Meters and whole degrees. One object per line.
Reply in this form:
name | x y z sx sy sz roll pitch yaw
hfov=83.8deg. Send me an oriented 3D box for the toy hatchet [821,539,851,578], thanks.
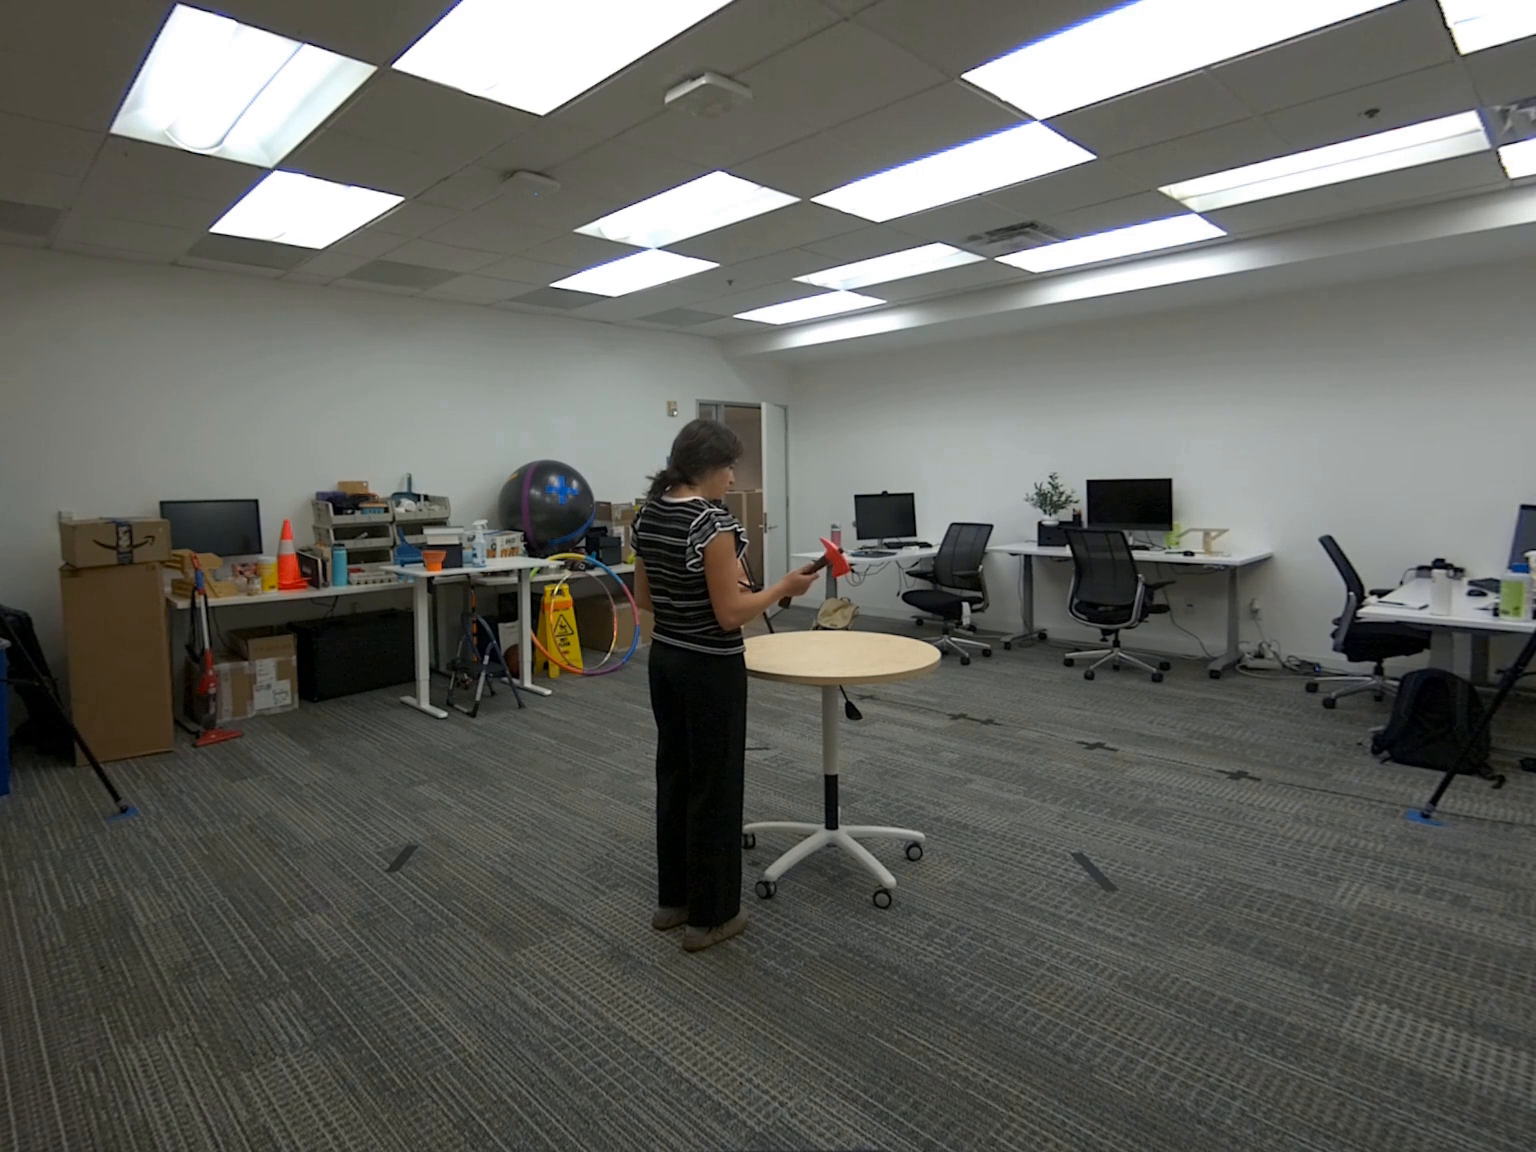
toy hatchet | 0.141 0.015 2.596 0.131 0.269 0.030 34 22 0
